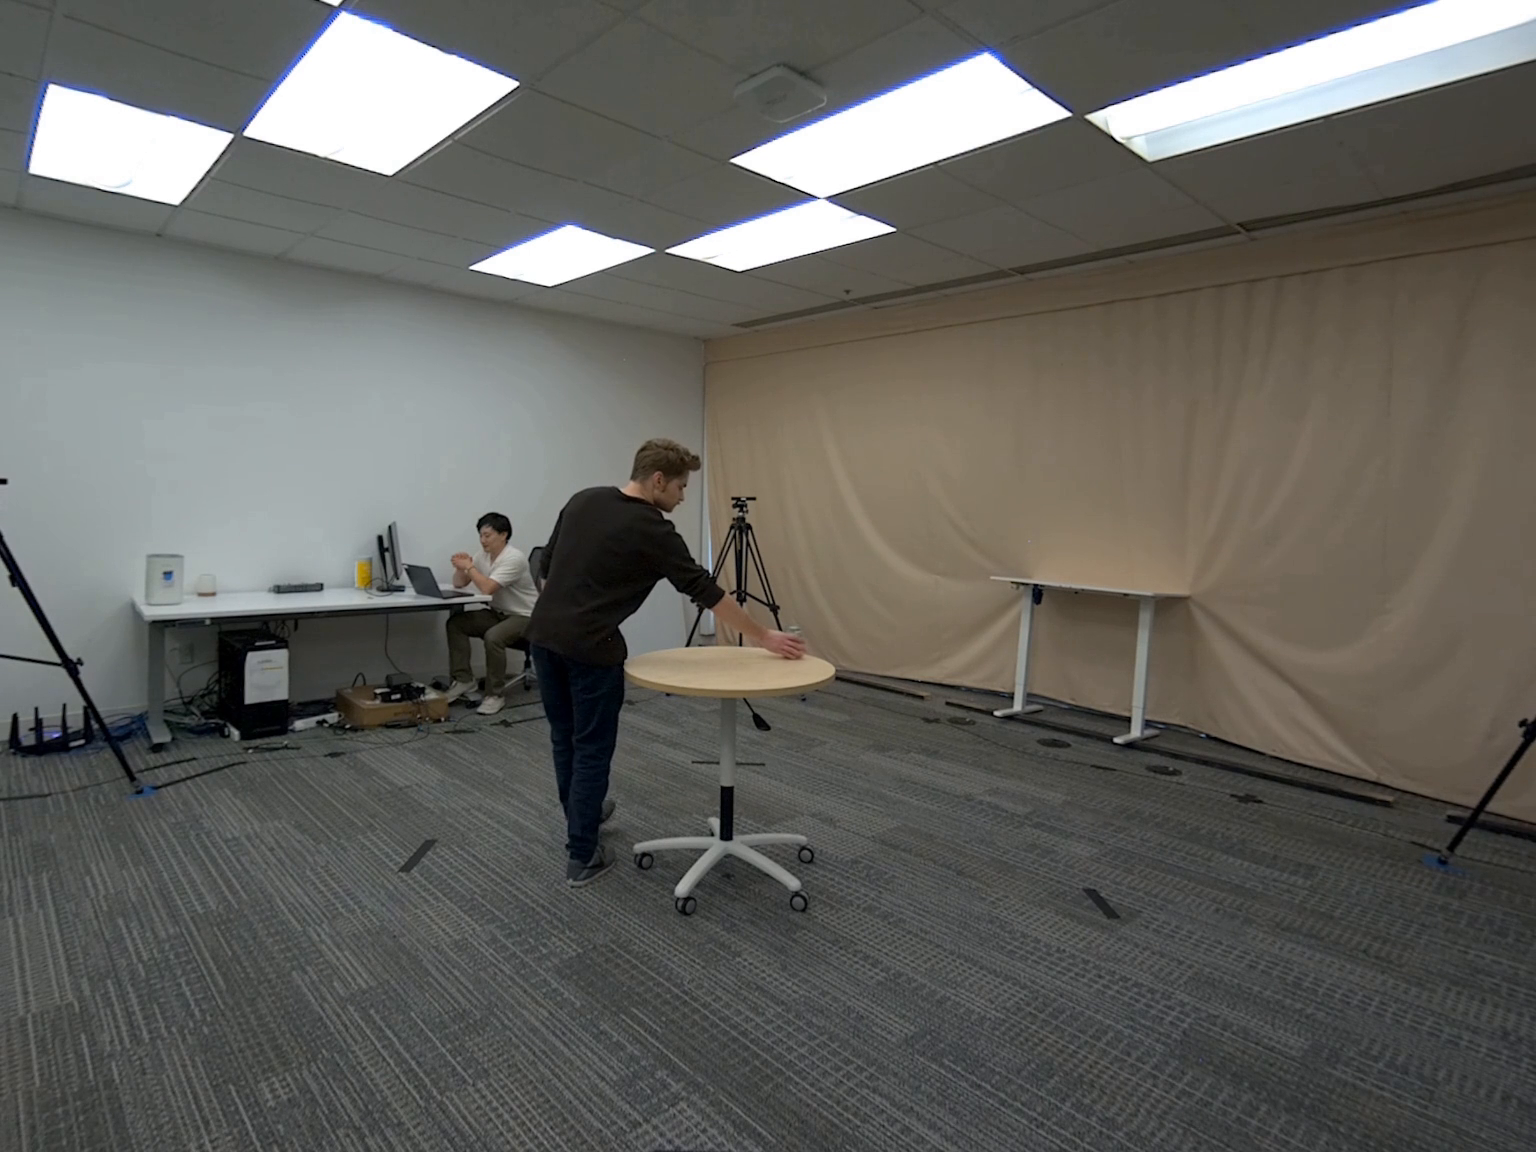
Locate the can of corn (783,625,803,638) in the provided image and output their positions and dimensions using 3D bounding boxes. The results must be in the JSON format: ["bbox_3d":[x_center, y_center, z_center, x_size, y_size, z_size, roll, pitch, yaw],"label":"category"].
[{"bbox_3d":[0.087,0.261,3.248,0.074,0.110,0.074,-1,5,-1],"label":"can of corn"}]
